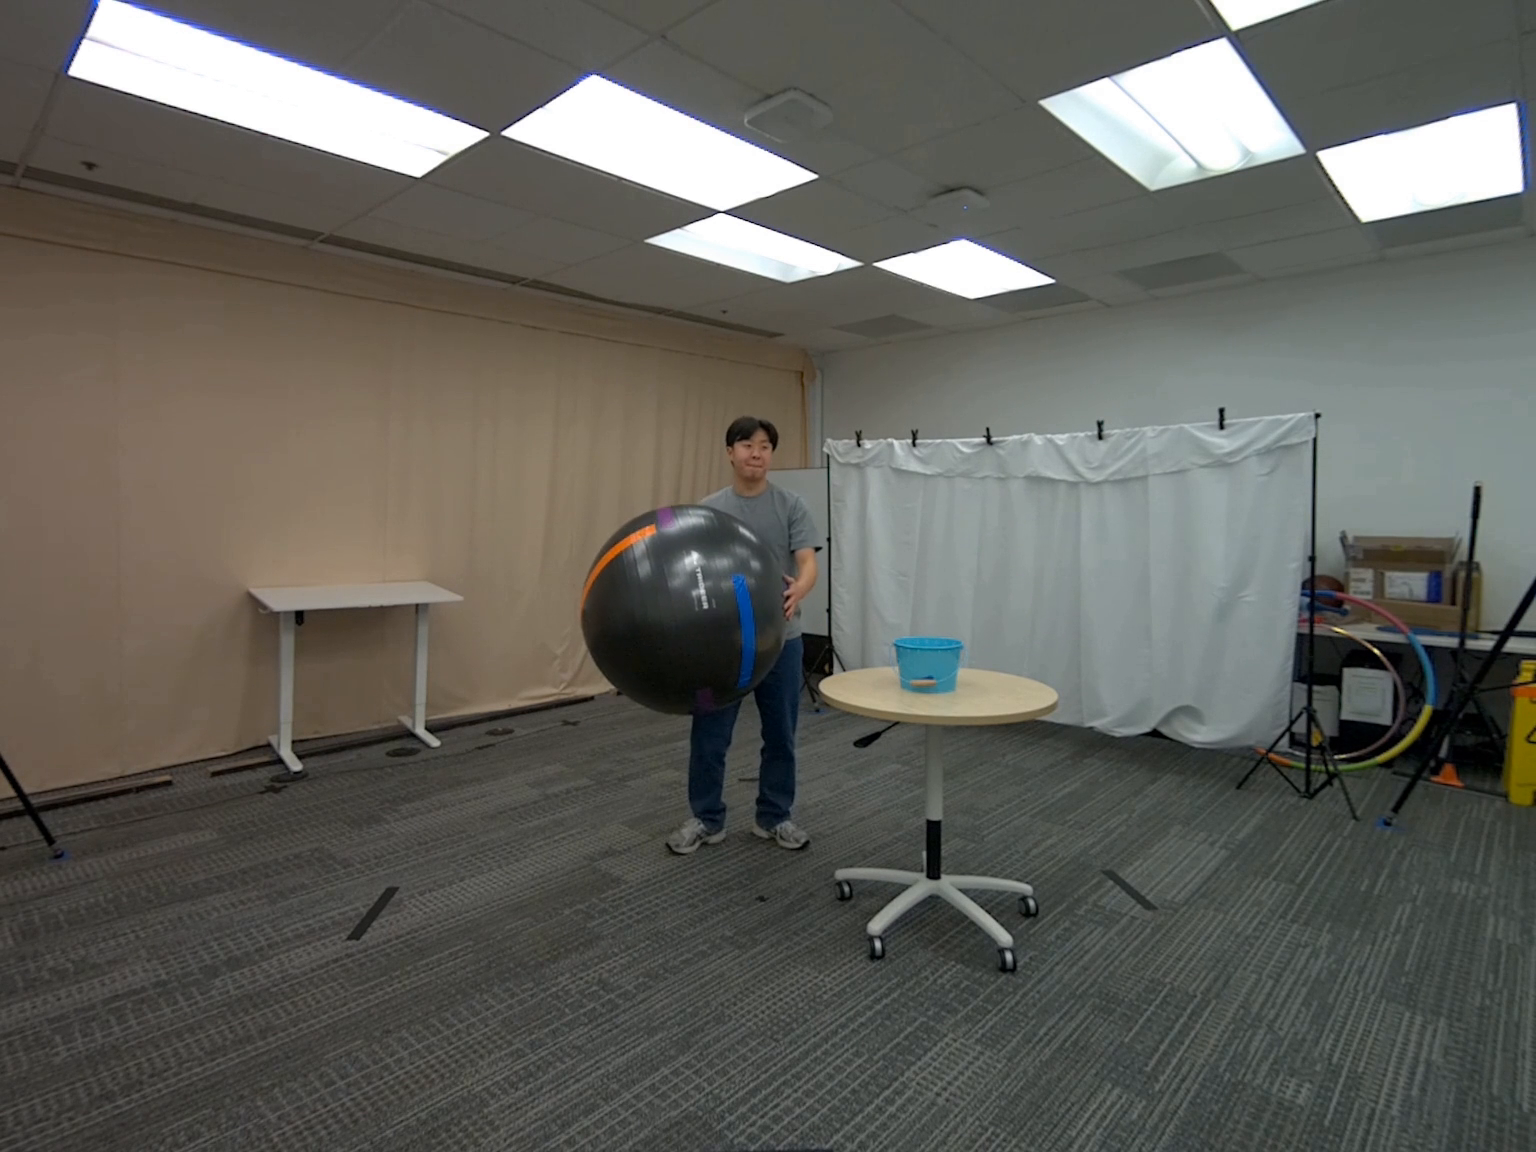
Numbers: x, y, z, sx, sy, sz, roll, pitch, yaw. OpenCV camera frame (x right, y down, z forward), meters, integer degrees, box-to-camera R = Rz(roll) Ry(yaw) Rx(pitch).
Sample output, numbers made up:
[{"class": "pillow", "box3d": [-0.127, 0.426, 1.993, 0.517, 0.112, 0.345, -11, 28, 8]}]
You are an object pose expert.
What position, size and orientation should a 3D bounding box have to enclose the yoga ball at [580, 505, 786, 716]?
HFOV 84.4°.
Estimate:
[{"class": "yoga ball", "box3d": [-0.311, 0.116, 3.065, 0.757, 0.756, 0.760, 0, 4, -2]}]
